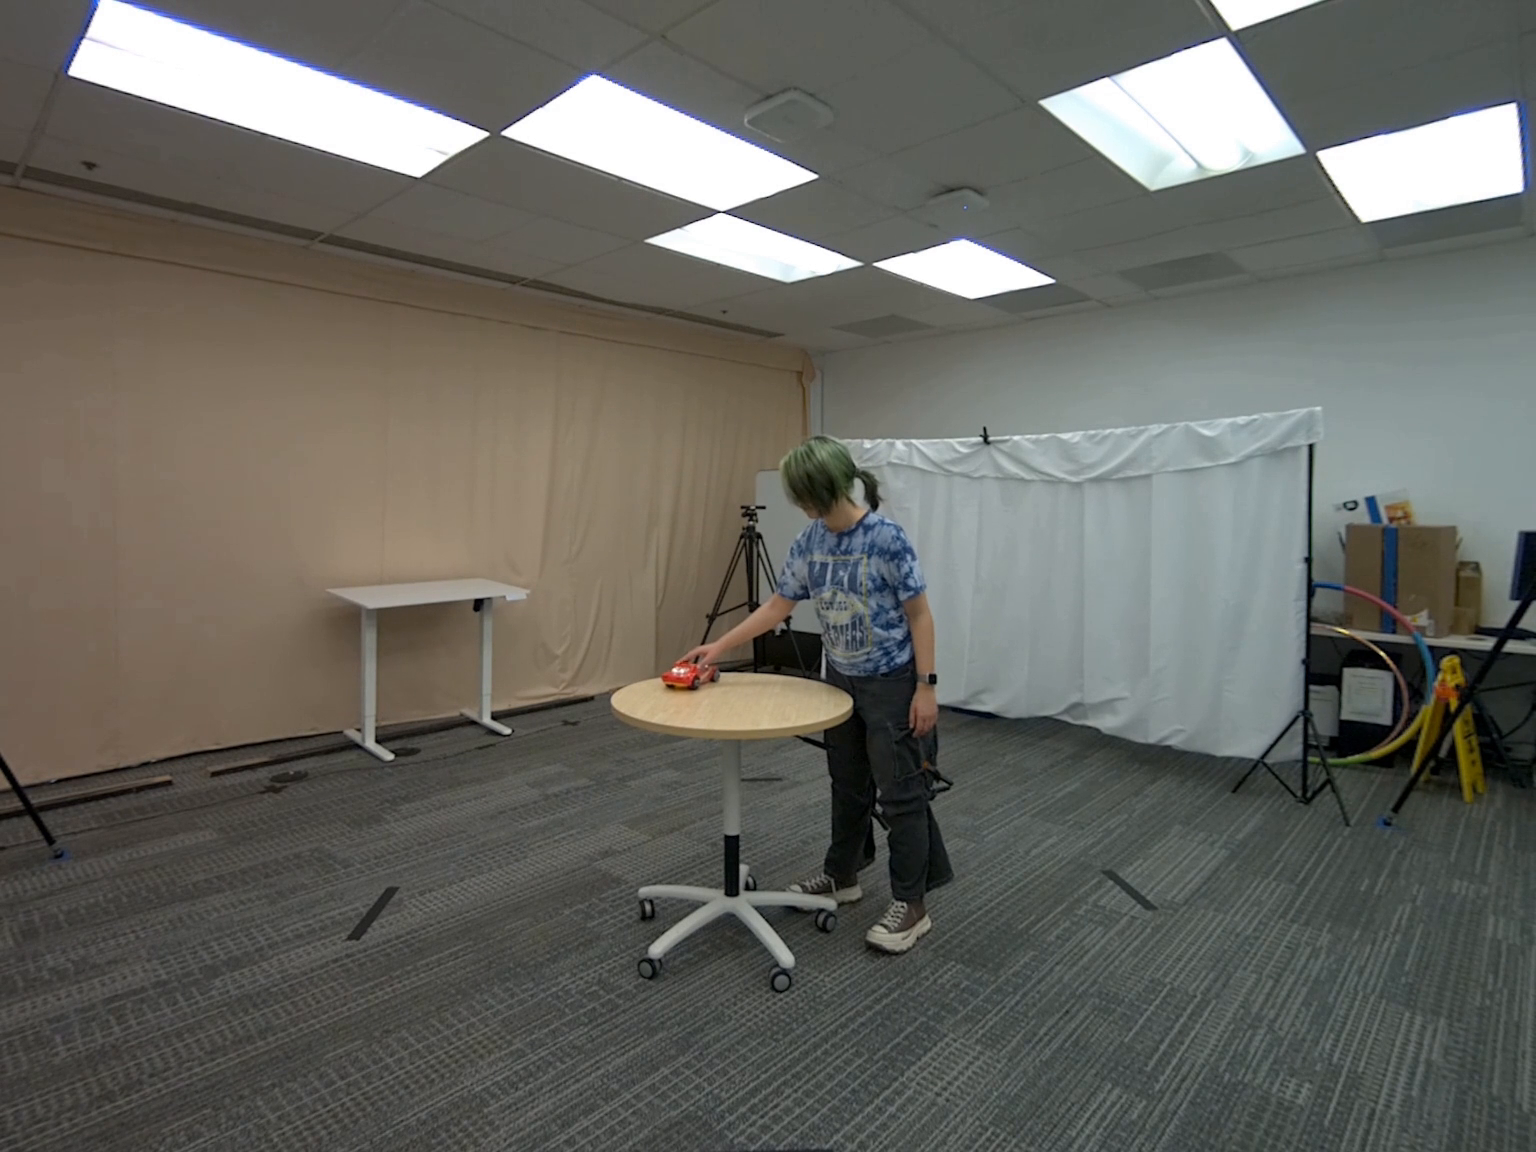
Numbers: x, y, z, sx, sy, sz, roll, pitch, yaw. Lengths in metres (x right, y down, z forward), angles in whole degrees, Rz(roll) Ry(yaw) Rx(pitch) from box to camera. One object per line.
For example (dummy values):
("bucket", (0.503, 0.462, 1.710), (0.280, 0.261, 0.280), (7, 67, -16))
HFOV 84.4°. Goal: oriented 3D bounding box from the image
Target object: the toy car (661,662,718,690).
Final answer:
("toy car", (-0.265, 0.344, 2.847), (0.134, 0.083, 0.247), (3, -5, 26))
